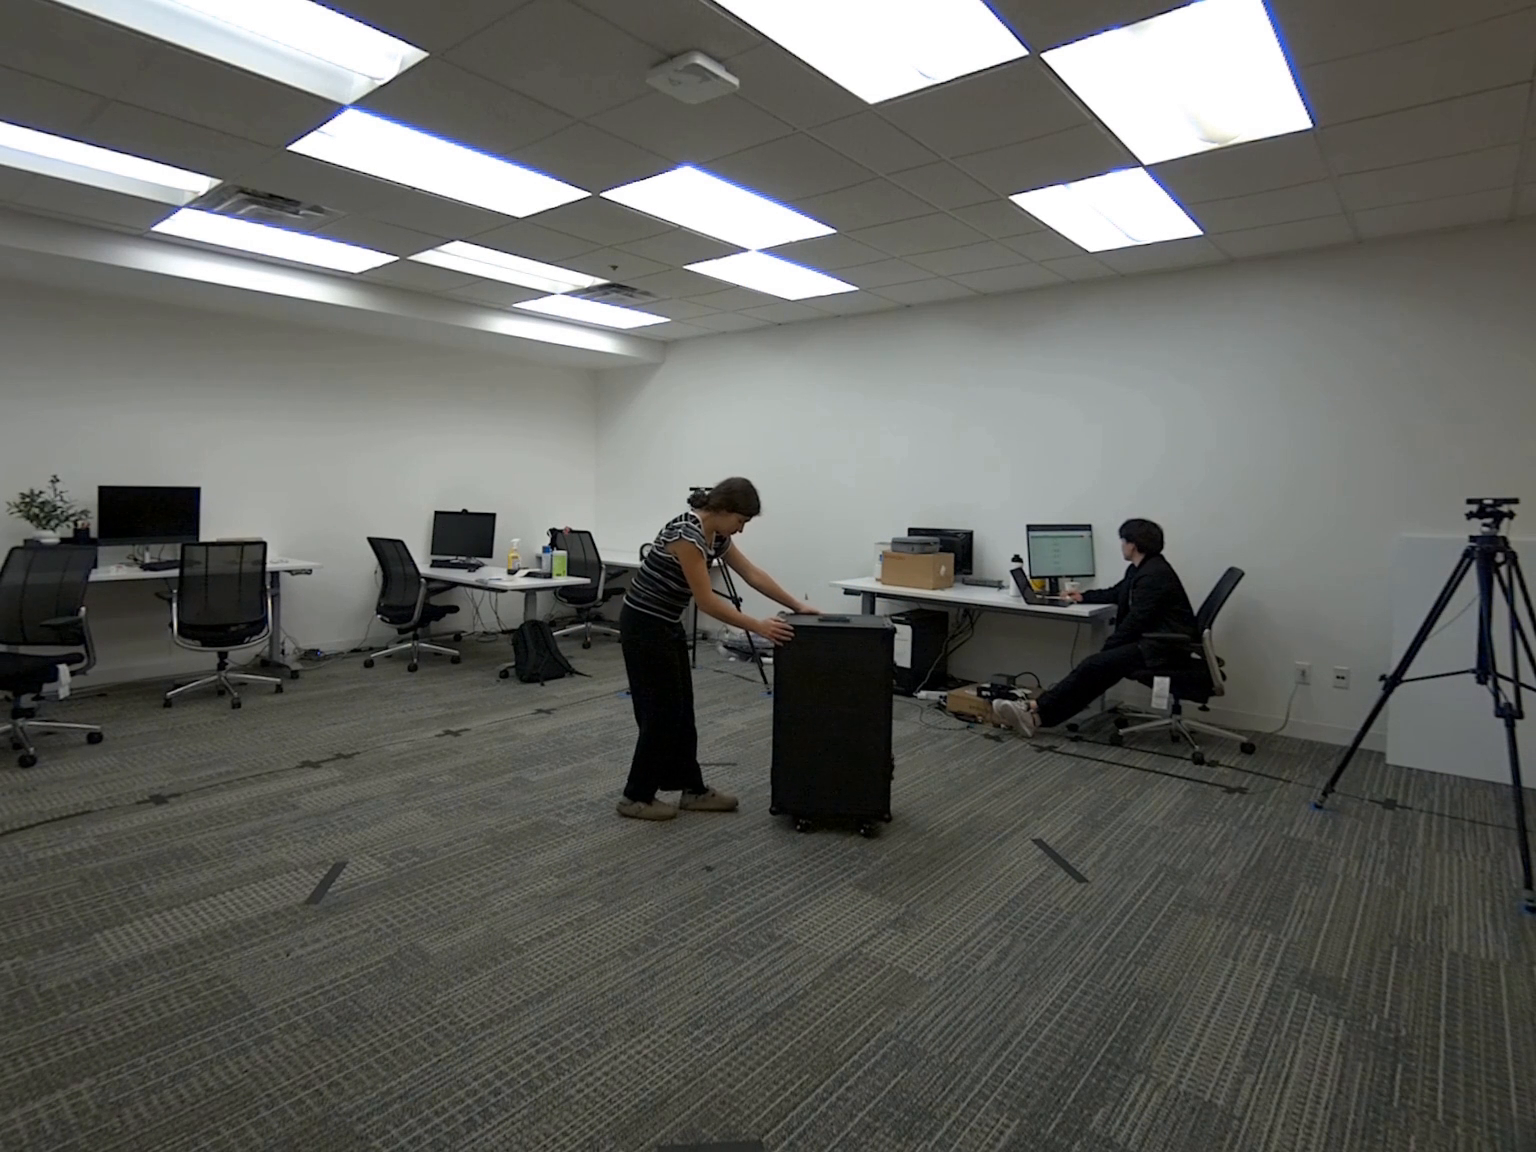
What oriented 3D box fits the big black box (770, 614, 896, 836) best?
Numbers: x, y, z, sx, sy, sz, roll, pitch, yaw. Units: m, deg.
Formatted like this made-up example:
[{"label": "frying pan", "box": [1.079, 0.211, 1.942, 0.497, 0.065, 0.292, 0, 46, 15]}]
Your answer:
[{"label": "big black box", "box": [0.258, 0.610, 3.595, 0.526, 0.859, 0.394, 1, 3, 7]}]
